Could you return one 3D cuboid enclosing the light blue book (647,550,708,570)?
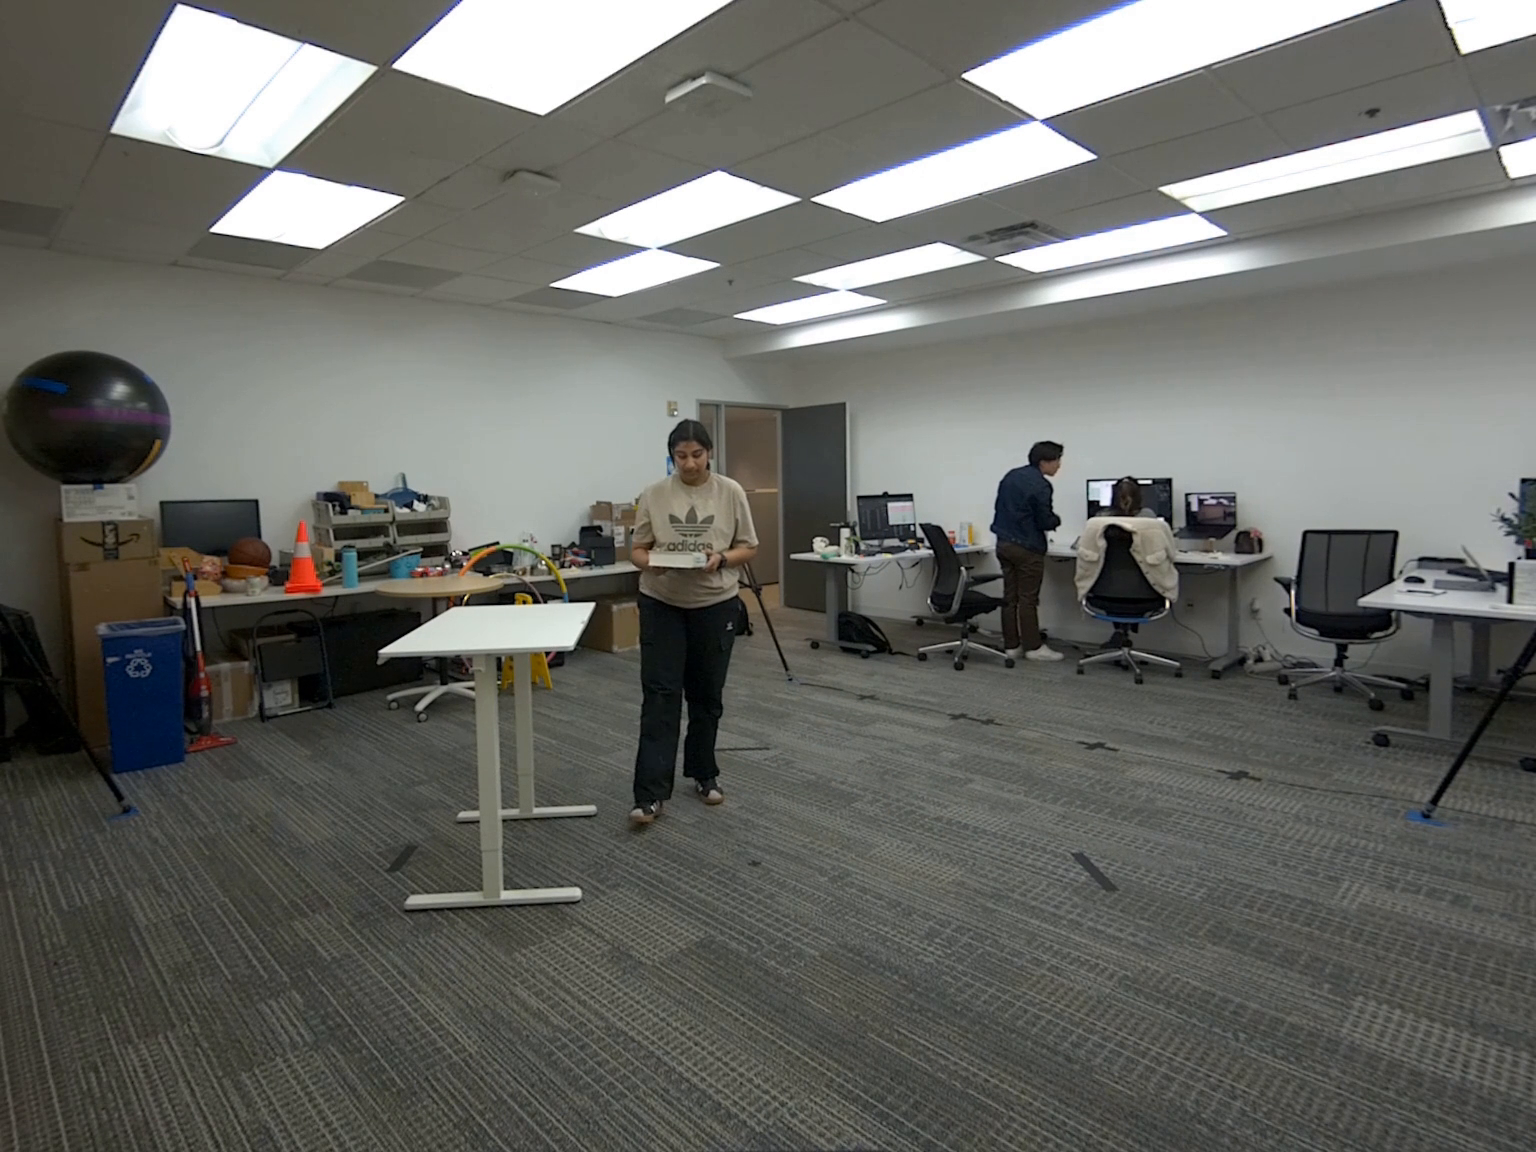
[{"bbox_3d":[-0.355,-0.071,3.446,0.256,0.059,0.195,-2,2,-21],"label":"light blue book"}]
